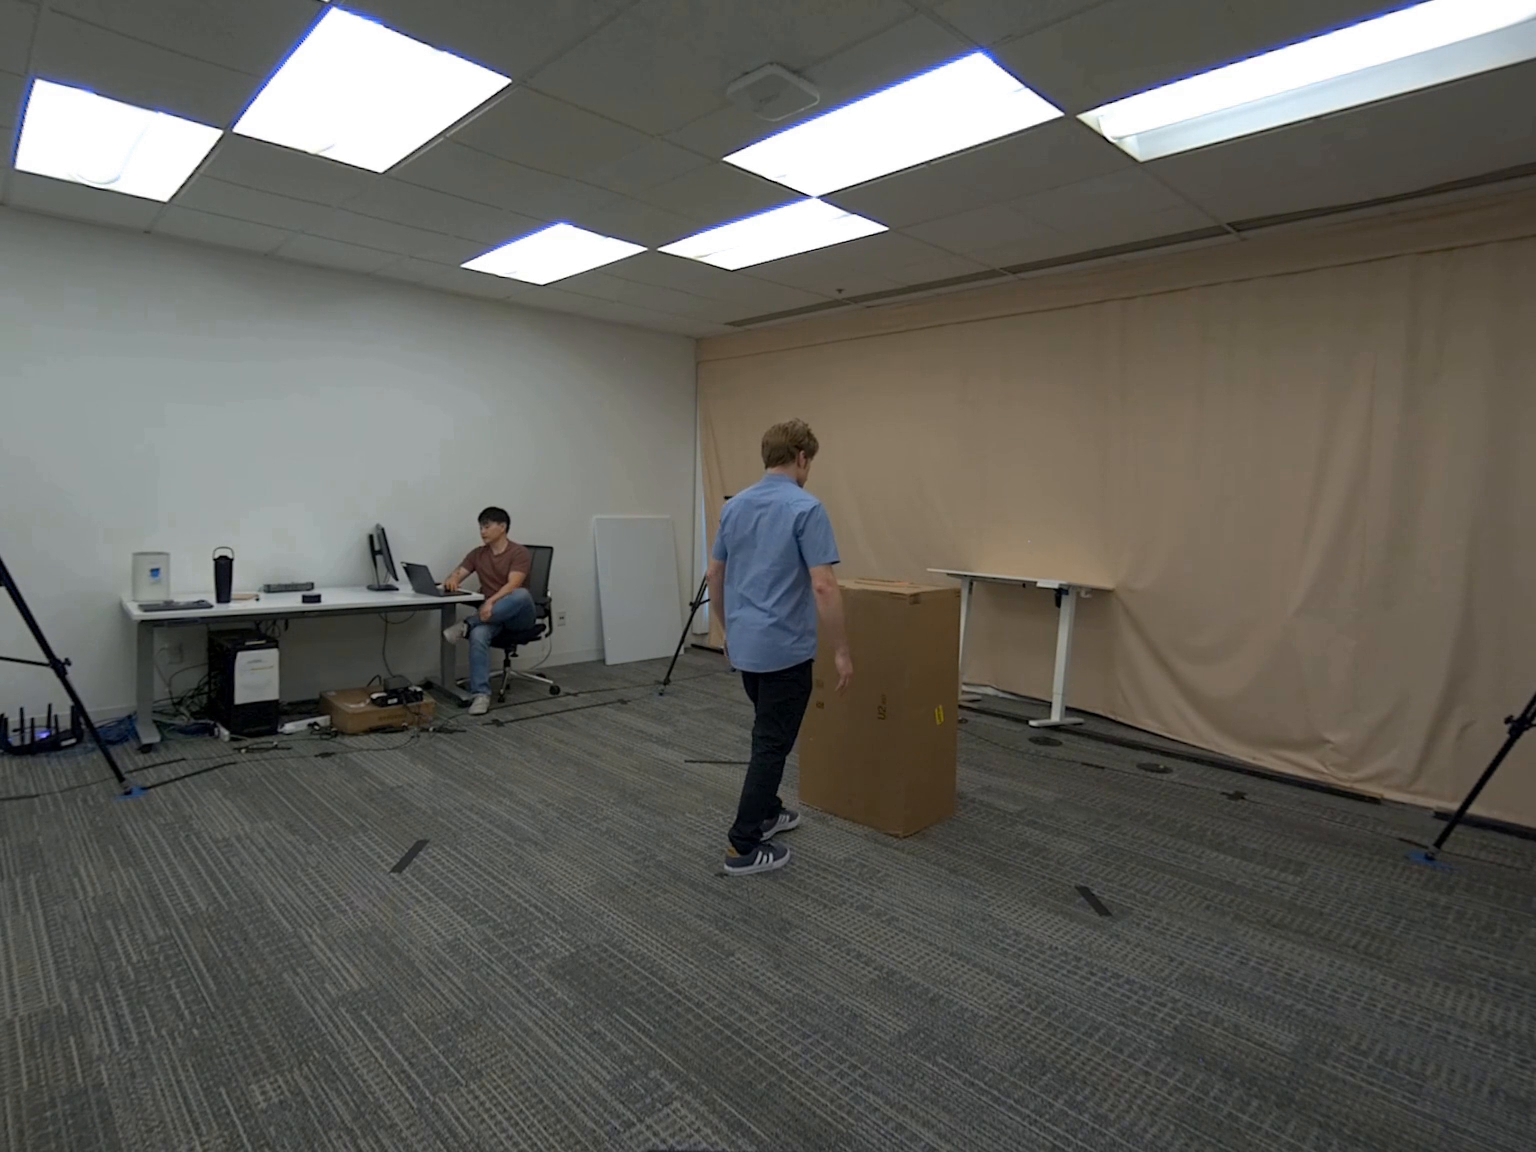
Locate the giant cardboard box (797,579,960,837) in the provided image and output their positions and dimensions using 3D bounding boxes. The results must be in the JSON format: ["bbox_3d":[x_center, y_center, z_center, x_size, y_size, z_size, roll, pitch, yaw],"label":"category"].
[{"bbox_3d":[0.491,0.547,3.812,0.592,1.023,0.416,4,4,44],"label":"giant cardboard box"}]
